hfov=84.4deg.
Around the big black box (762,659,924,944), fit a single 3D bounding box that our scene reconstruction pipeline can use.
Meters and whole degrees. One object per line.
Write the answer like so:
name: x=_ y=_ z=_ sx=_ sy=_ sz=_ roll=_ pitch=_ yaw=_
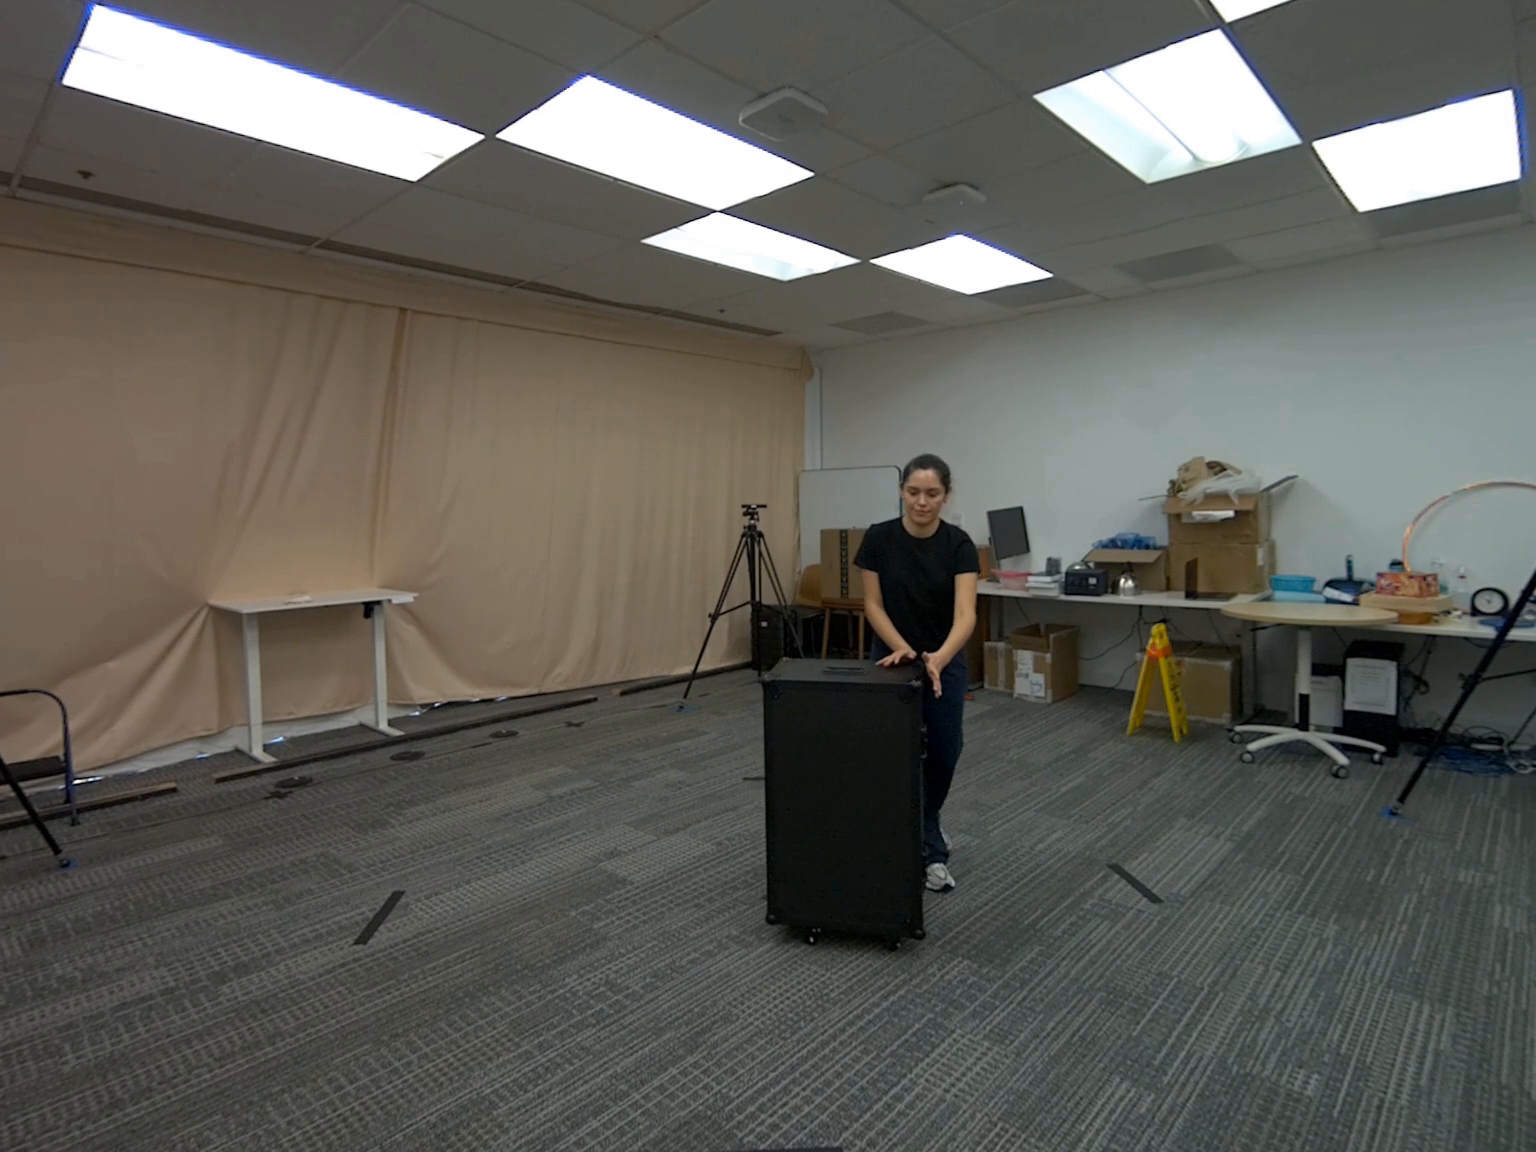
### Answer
big black box: x=0.270 y=0.726 z=2.766 sx=0.529 sy=0.860 sz=0.391 roll=-1 pitch=2 yaw=13
